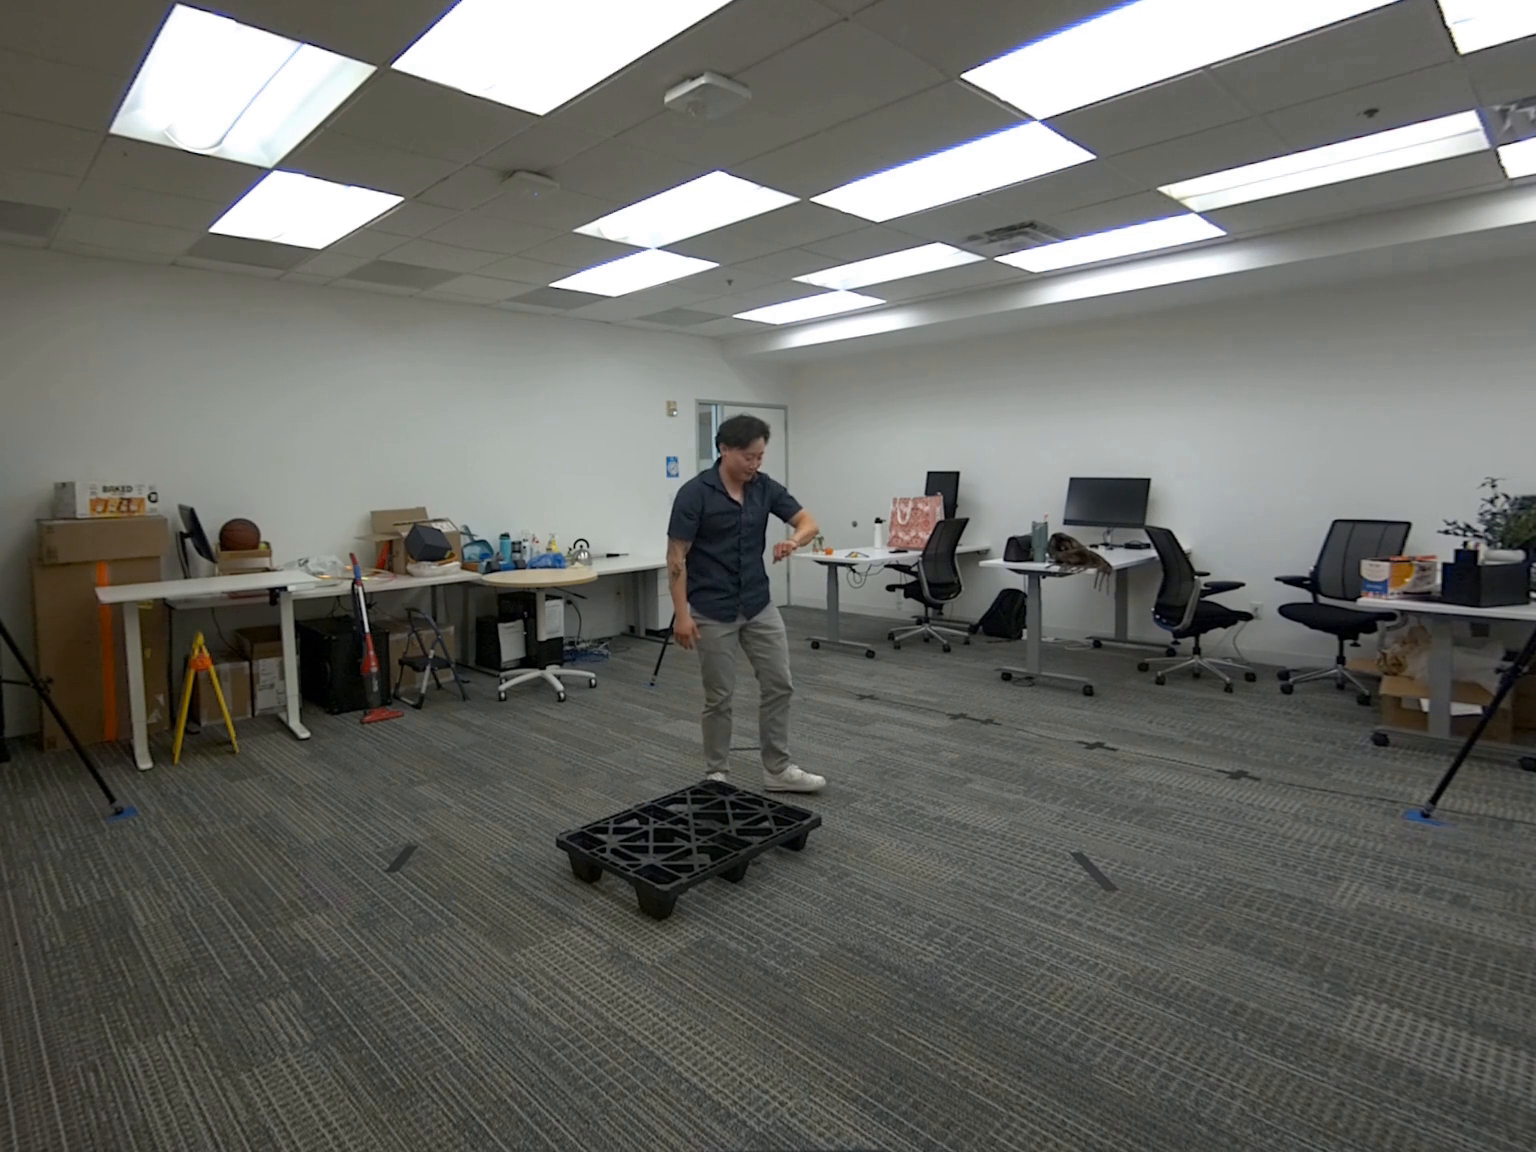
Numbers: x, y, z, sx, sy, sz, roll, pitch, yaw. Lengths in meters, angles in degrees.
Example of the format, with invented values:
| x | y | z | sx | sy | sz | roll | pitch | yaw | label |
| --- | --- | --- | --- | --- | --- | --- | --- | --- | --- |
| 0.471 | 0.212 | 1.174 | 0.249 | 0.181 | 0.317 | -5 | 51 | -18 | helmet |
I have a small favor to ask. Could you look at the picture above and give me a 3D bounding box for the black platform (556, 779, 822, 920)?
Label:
| x | y | z | sx | sy | sz | roll | pitch | yaw | label |
| --- | --- | --- | --- | --- | --- | --- | --- | --- | --- |
| -0.280 | 0.978 | 3.129 | 0.624 | 0.143 | 0.785 | 4 | 8 | 43 | black platform |
